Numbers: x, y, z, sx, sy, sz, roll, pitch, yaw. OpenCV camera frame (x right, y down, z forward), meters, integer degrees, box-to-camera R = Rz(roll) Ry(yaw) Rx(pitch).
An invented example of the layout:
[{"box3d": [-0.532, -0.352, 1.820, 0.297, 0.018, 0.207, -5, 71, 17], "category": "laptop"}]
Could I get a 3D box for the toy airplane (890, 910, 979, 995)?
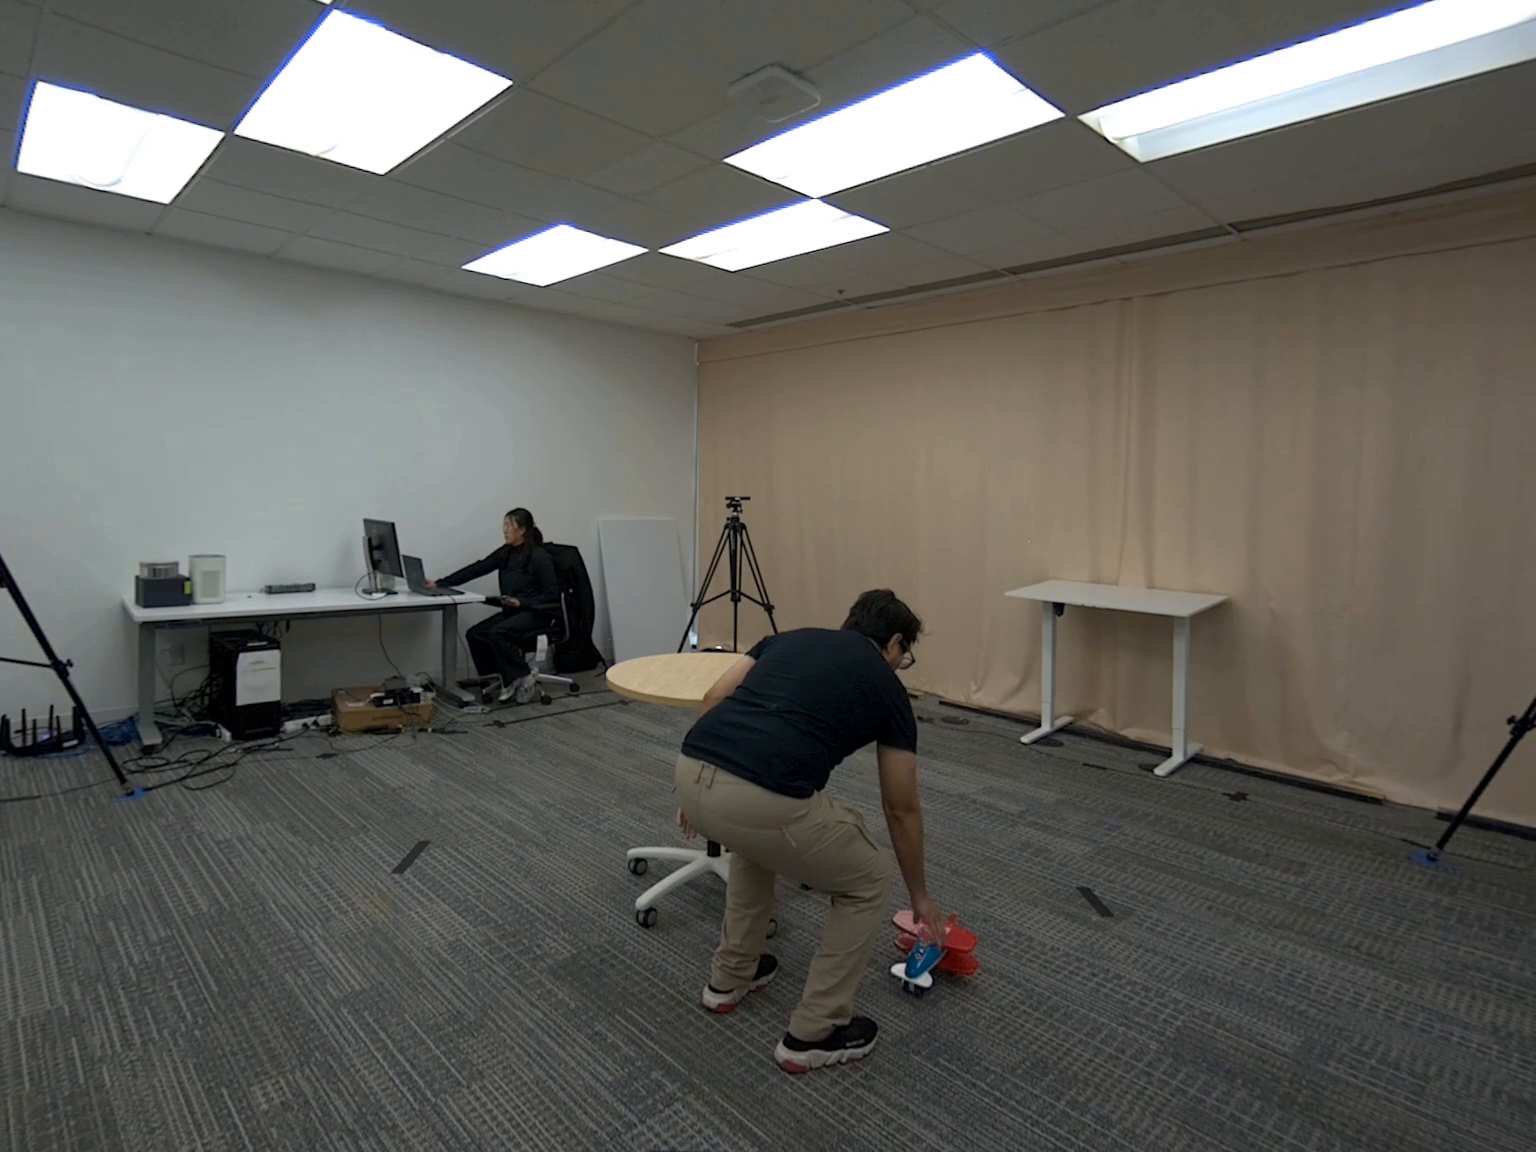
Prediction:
[{"box3d": [0.482, 1.108, 2.448, 0.253, 0.156, 0.257, 2, 3, 9], "category": "toy airplane"}]
